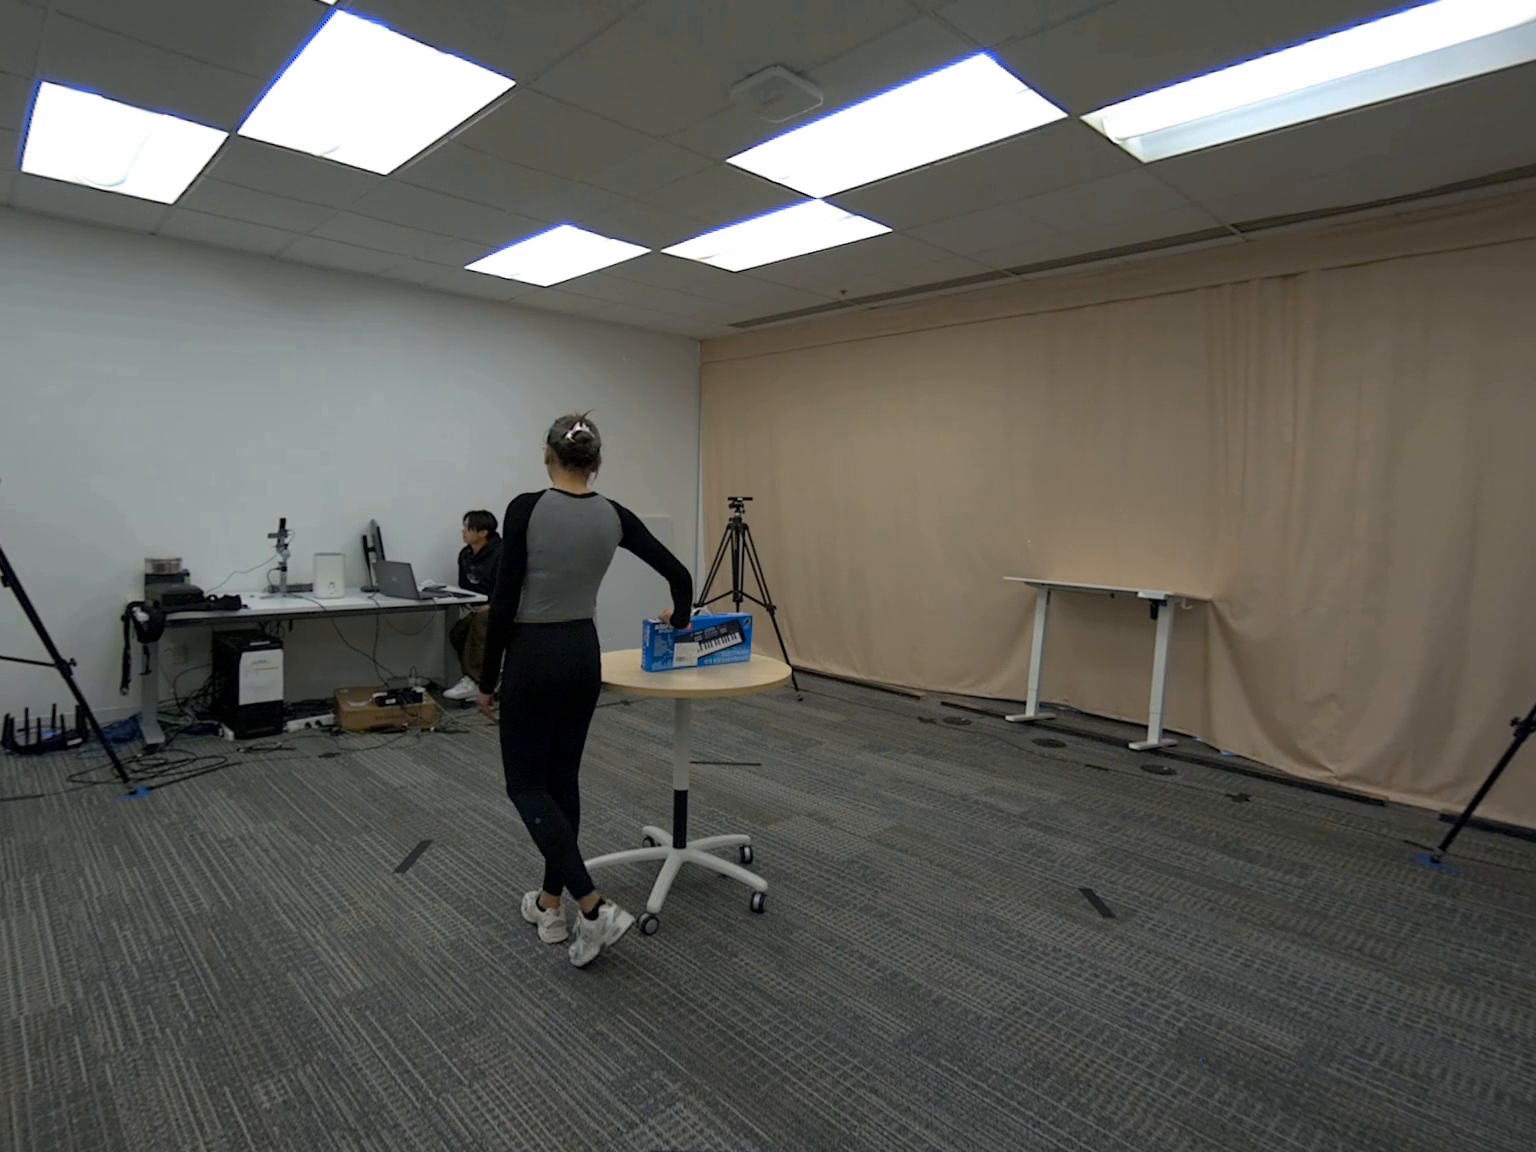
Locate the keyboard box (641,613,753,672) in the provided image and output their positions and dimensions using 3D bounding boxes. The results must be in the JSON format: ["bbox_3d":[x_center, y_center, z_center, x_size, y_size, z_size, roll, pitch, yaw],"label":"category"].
[{"bbox_3d":[-0.253,0.236,3.002,0.427,0.175,0.061,-3,8,-37],"label":"keyboard box"}]
